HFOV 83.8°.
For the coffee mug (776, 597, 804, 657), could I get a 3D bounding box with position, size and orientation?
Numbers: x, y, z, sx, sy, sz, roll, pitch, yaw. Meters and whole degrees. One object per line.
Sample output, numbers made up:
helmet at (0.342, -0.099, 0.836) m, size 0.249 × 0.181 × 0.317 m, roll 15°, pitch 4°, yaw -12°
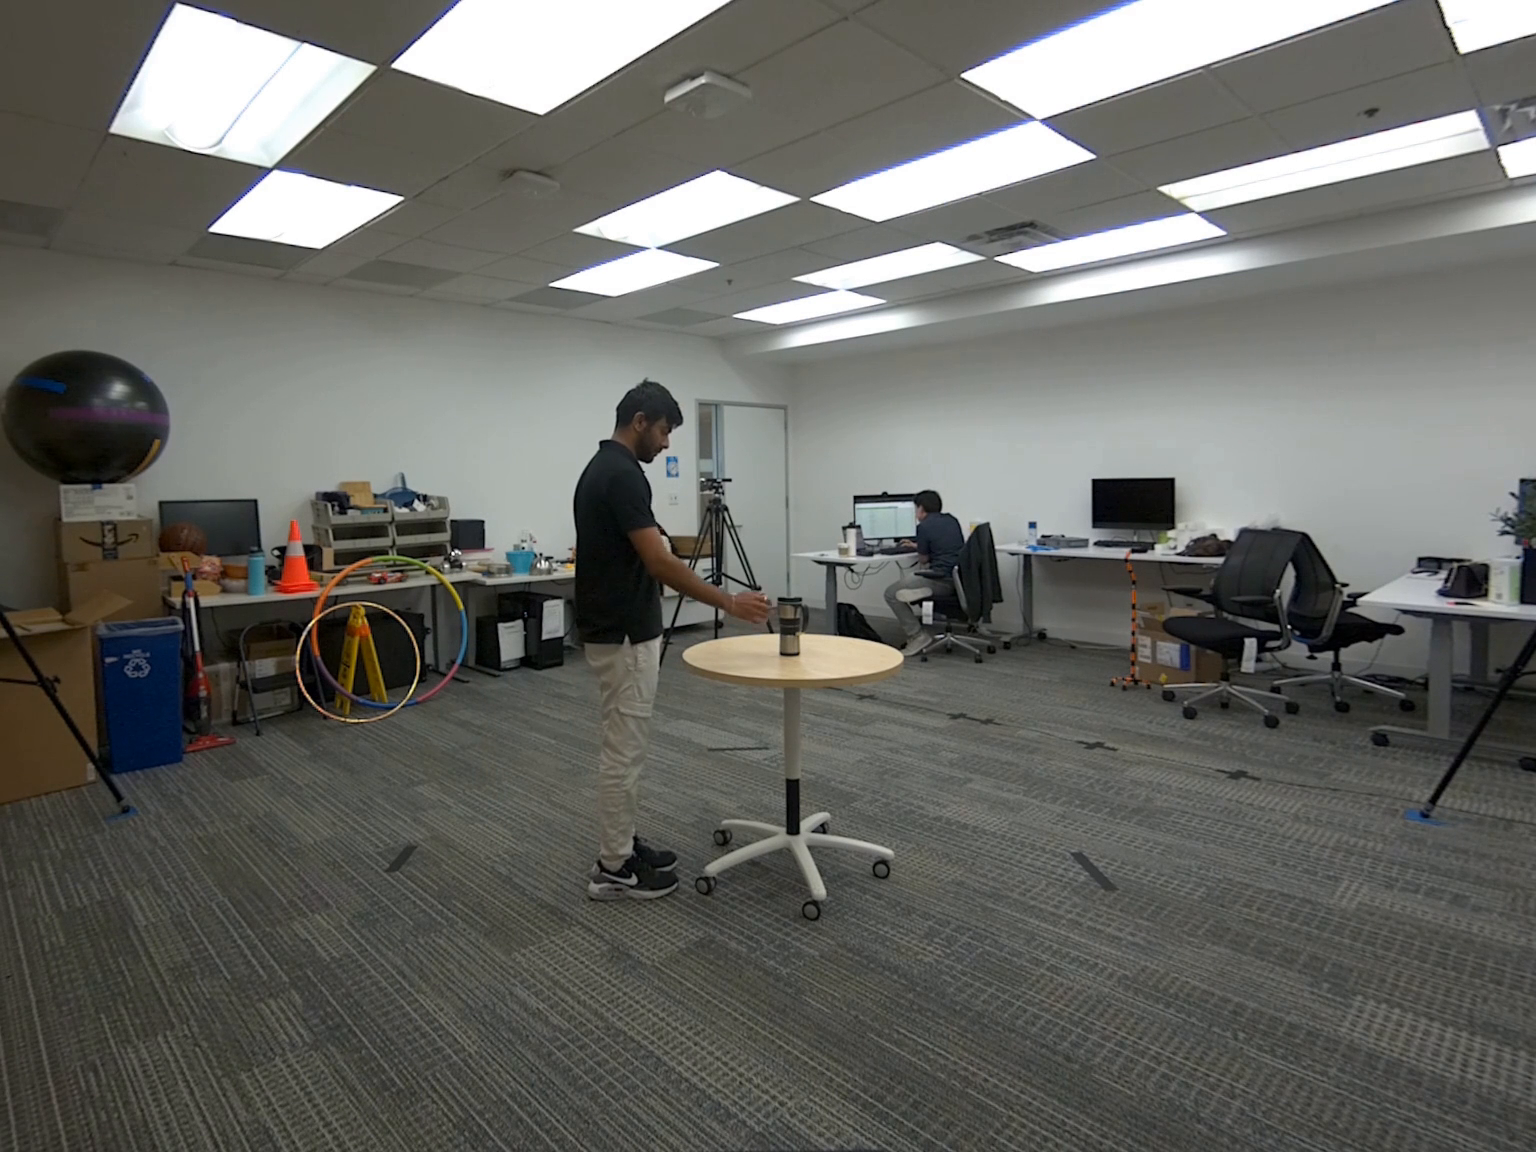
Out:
coffee mug at (0.062, 0.179, 2.950) m, size 0.091 × 0.201 × 0.119 m, roll 10°, pitch 10°, yaw 38°
